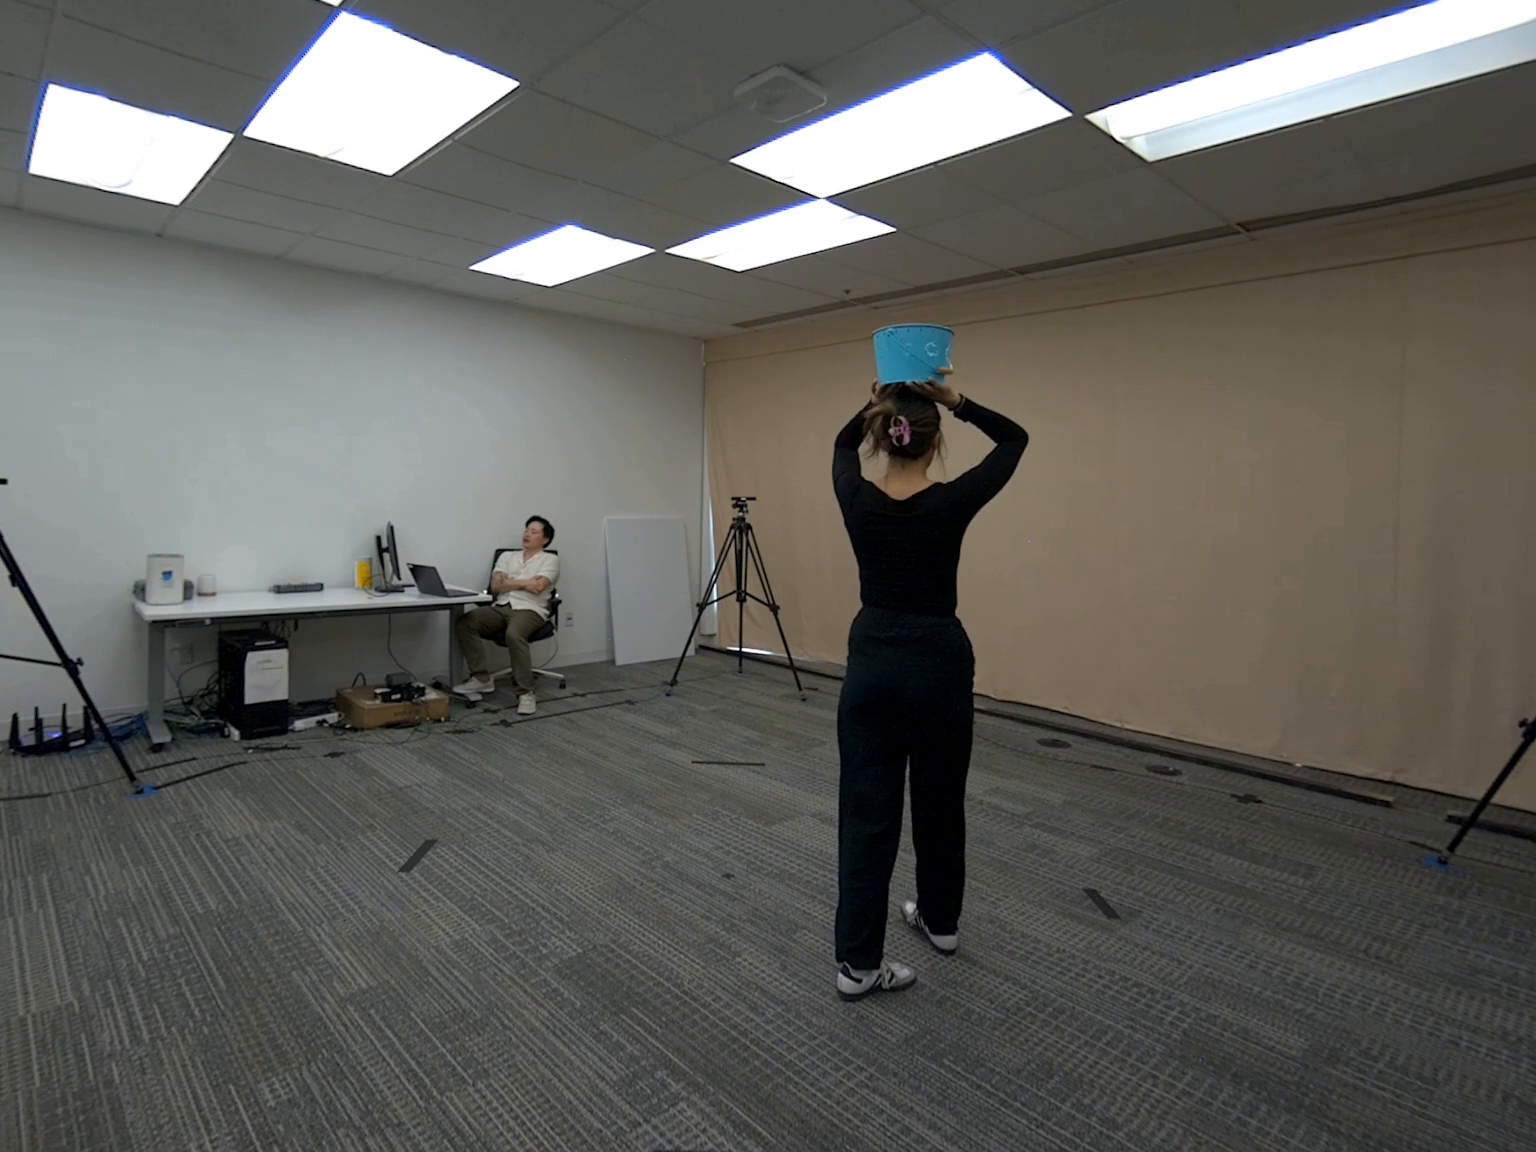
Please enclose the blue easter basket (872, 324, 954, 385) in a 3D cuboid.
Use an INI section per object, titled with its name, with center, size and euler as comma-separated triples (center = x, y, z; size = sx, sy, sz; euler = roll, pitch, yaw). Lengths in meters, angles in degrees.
[blue easter basket]
center = 0.412, -0.614, 2.385
size = 0.243, 0.155, 0.244
euler = 0, 3, -1
